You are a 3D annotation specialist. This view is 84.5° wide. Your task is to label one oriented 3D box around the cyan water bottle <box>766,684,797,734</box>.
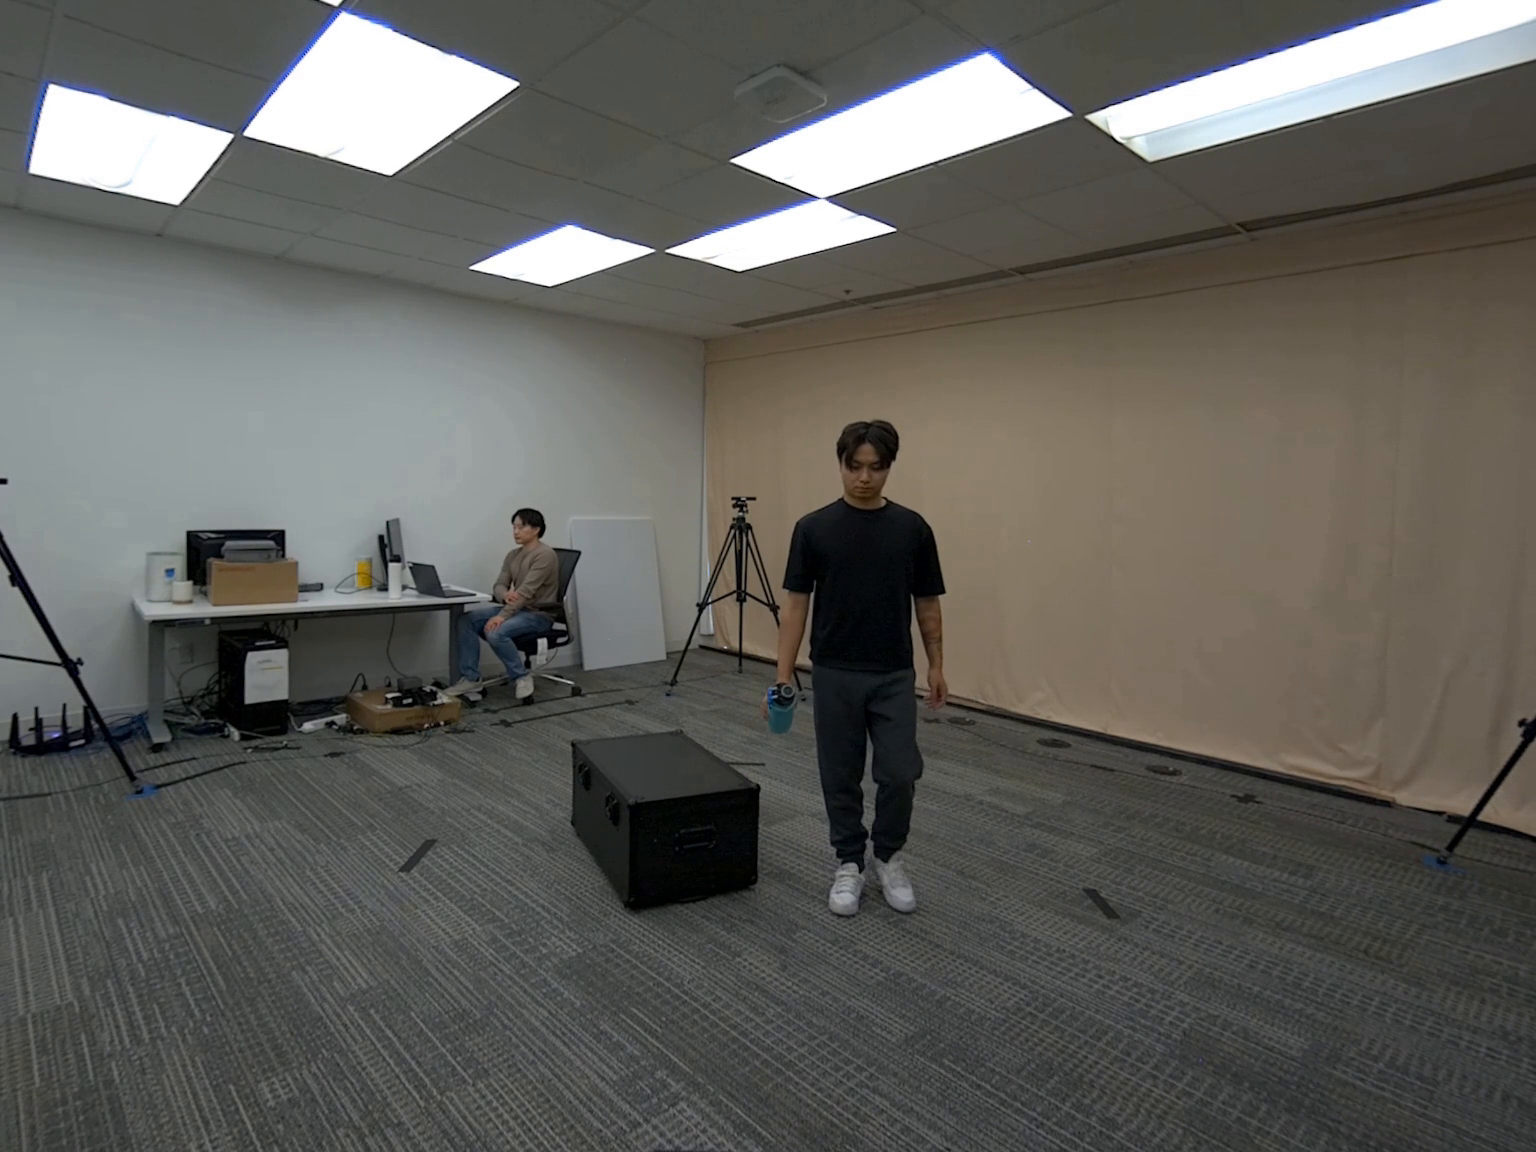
[{"bbox_3d":[0.041,0.437,2.773,0.093,0.094,0.277,2,-28,6],"label":"cyan water bottle"}]
